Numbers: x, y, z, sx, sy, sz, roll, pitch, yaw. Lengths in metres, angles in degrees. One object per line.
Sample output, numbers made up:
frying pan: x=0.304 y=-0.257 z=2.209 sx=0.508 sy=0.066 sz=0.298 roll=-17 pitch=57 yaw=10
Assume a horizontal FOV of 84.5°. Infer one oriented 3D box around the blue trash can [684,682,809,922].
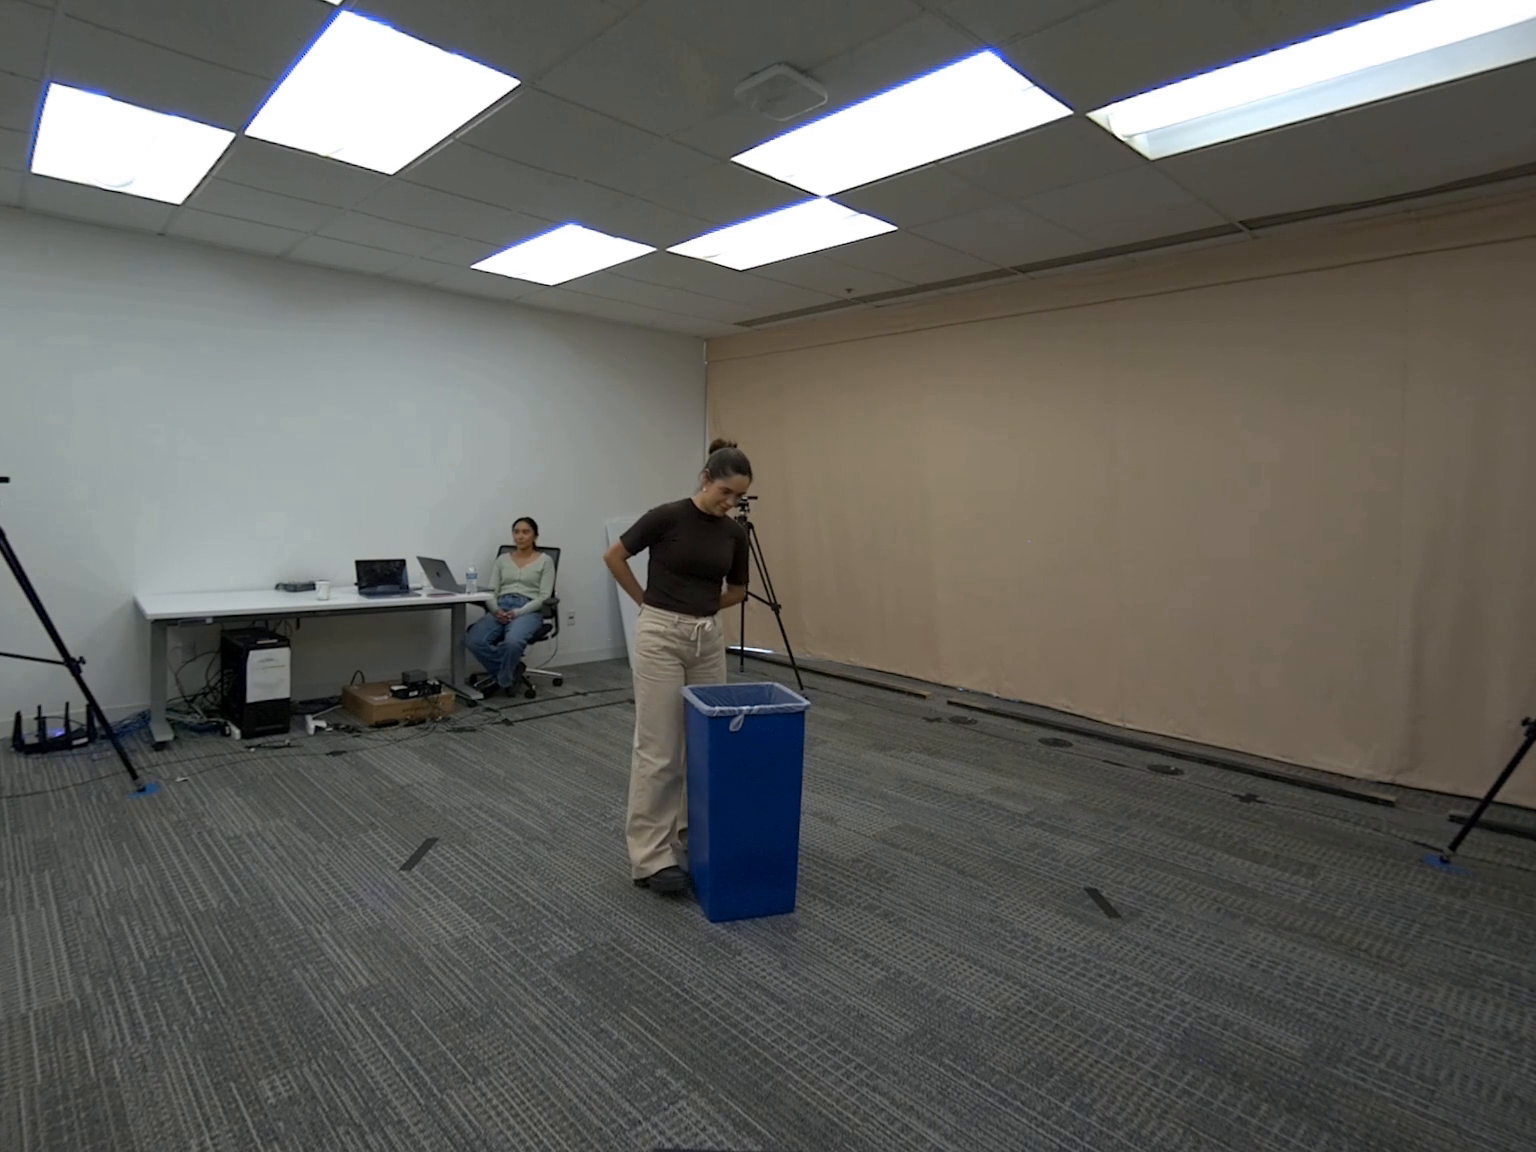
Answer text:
blue trash can: x=-0.088 y=0.763 z=2.914 sx=0.369 sy=0.712 sz=0.384 roll=0 pitch=3 yaw=-19
